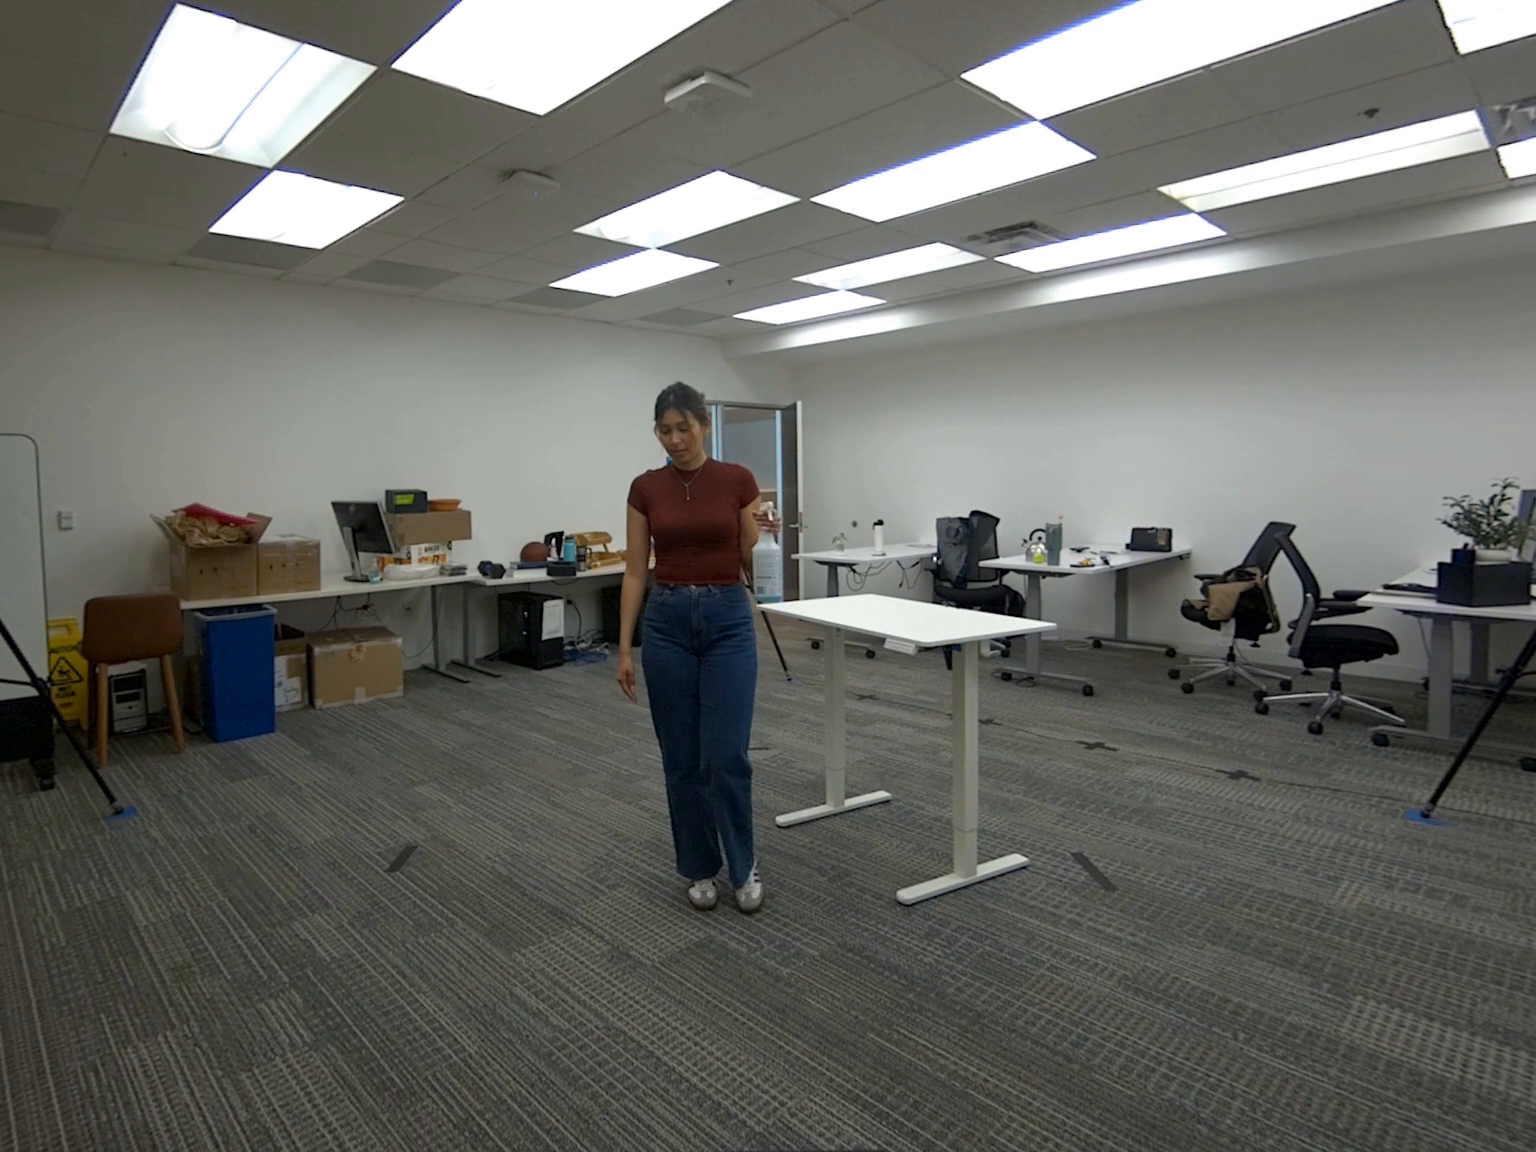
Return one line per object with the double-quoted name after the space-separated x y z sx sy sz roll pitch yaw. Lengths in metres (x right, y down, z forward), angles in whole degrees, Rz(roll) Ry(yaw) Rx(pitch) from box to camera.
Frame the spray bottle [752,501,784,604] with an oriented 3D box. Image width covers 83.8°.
-0.006 -0.071 2.583 0.087 0.297 0.089 -3 1 5 "spray bottle"
